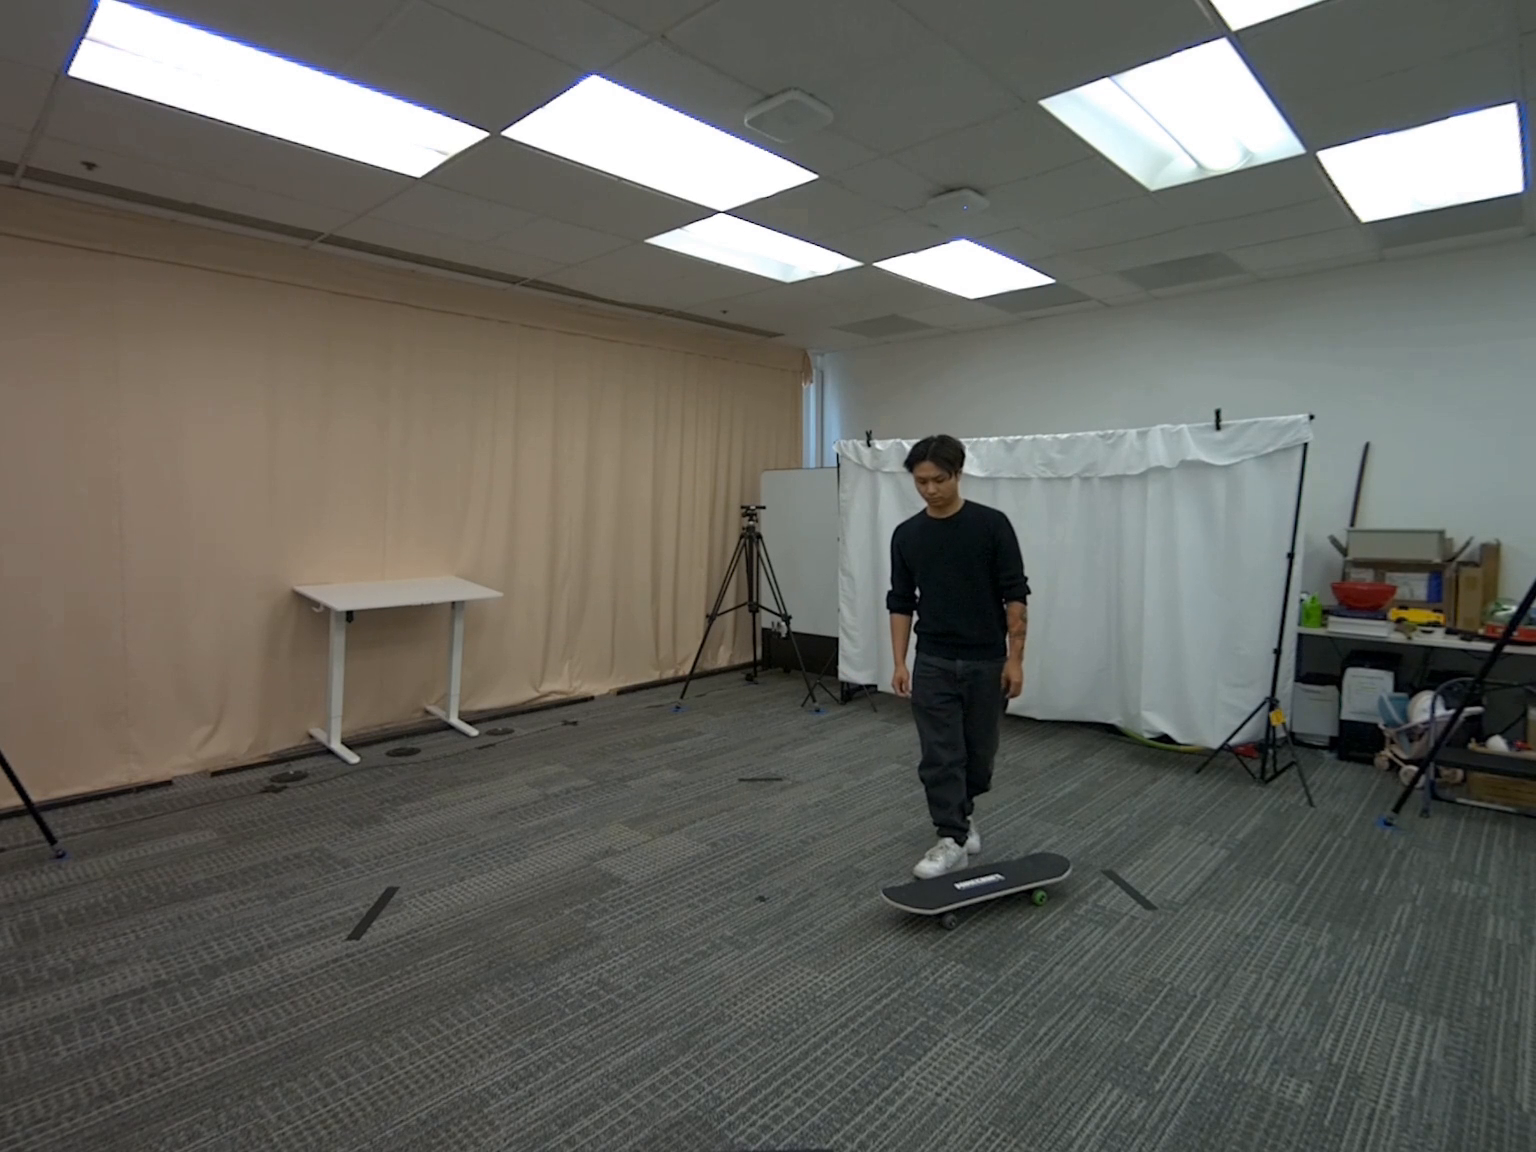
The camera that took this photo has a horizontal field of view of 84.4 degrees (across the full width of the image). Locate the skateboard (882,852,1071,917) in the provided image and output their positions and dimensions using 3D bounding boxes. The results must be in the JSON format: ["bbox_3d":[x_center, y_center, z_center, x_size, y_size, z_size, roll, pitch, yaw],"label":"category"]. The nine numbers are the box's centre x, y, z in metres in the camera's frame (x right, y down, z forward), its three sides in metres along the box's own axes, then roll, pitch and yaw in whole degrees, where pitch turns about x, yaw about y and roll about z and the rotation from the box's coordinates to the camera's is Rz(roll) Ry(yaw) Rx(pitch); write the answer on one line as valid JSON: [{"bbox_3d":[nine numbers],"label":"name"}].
[{"bbox_3d":[0.733,1.090,2.912,0.767,0.110,0.198,-2,4,-25],"label":"skateboard"}]
